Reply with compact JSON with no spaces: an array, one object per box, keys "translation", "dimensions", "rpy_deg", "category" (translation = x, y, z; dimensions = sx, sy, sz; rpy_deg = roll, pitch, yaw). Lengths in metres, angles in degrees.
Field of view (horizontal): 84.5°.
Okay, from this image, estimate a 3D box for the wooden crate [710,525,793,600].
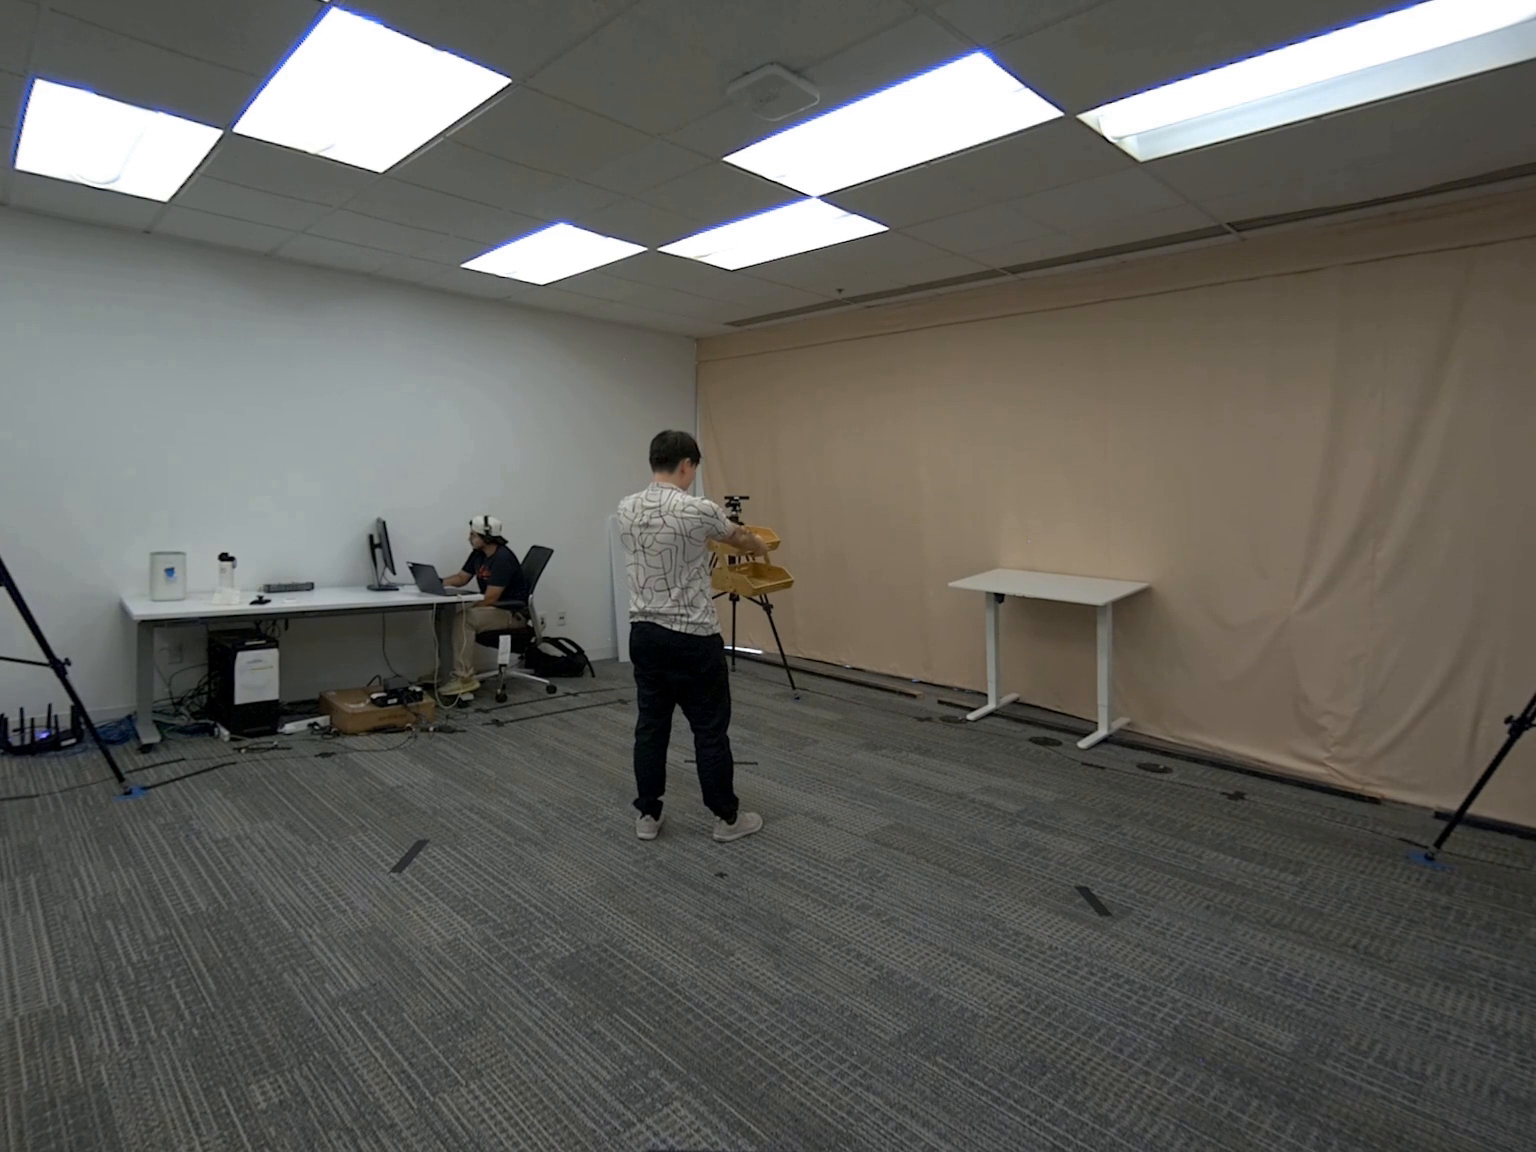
[{"translation":[-0.090,-0.079,3.883],"dimensions":[0.310,0.271,0.318],"rpy_deg":[11,13,37],"category":"wooden crate"}]
